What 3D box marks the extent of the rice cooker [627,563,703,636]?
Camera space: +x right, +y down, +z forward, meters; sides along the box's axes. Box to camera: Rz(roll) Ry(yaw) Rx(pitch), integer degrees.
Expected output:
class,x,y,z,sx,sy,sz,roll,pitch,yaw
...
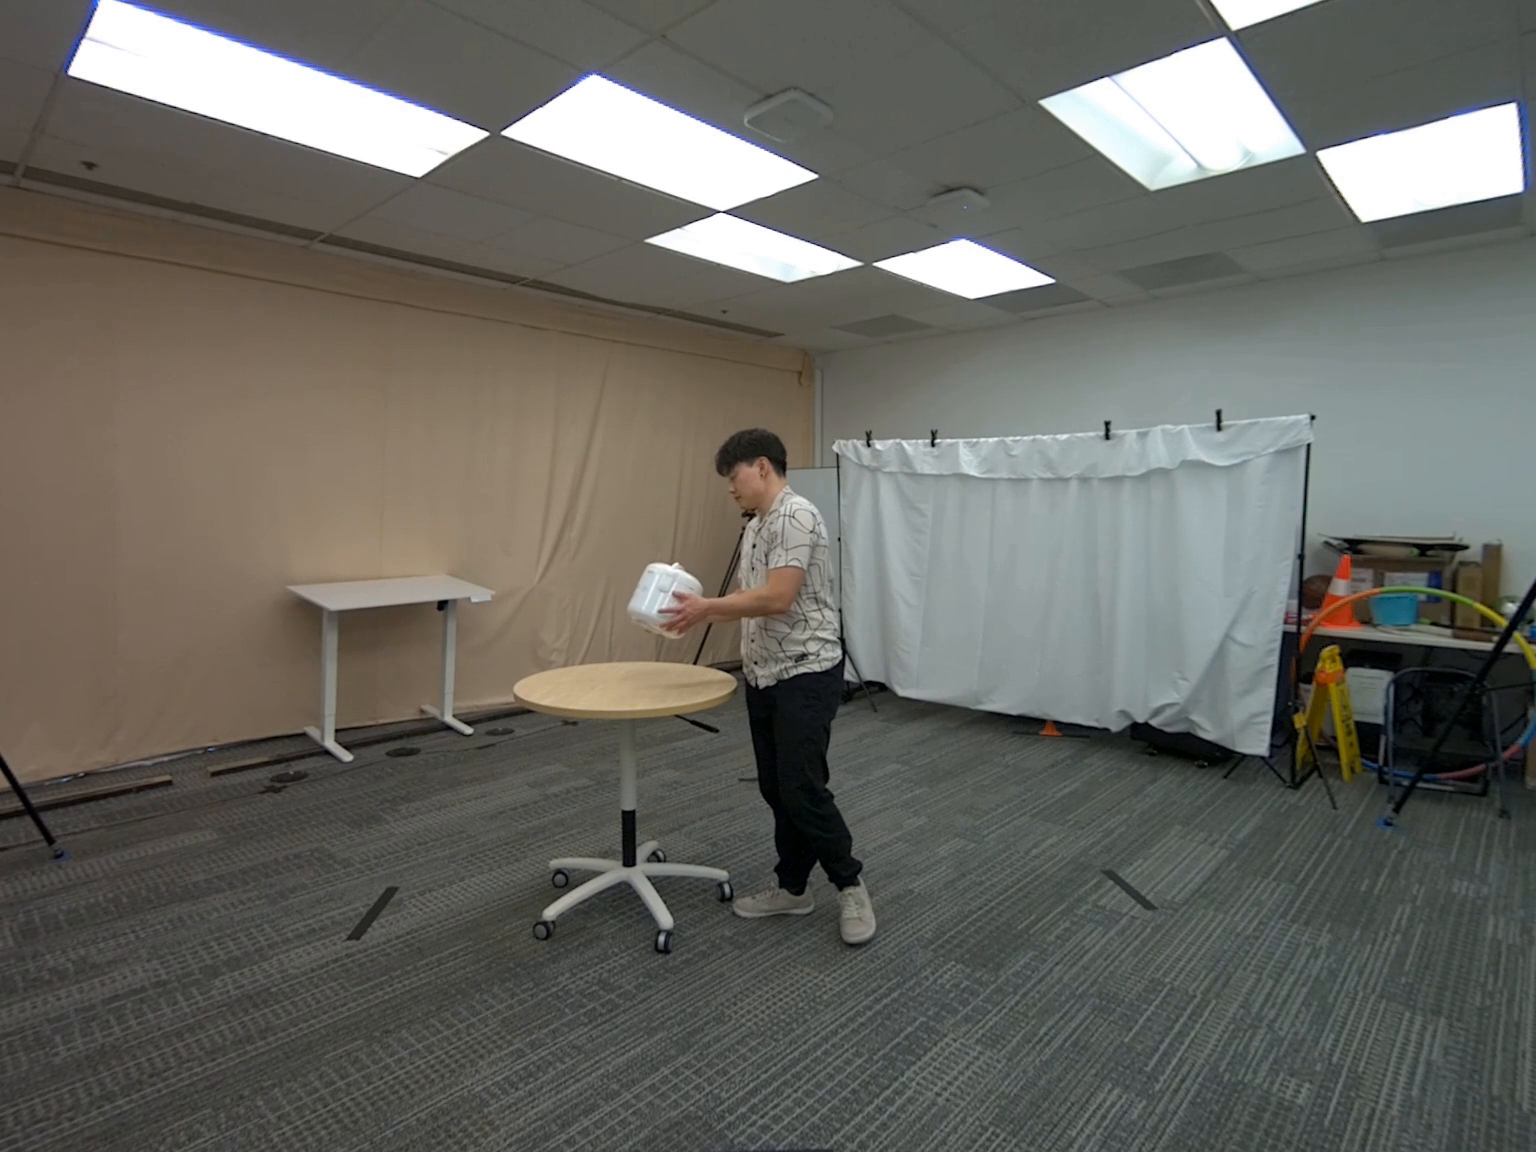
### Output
class,x,y,z,sx,sy,sz,roll,pitch,yaw
rice cooker,-0.332,0.076,2.828,0.220,0.233,0.217,20,-14,8
